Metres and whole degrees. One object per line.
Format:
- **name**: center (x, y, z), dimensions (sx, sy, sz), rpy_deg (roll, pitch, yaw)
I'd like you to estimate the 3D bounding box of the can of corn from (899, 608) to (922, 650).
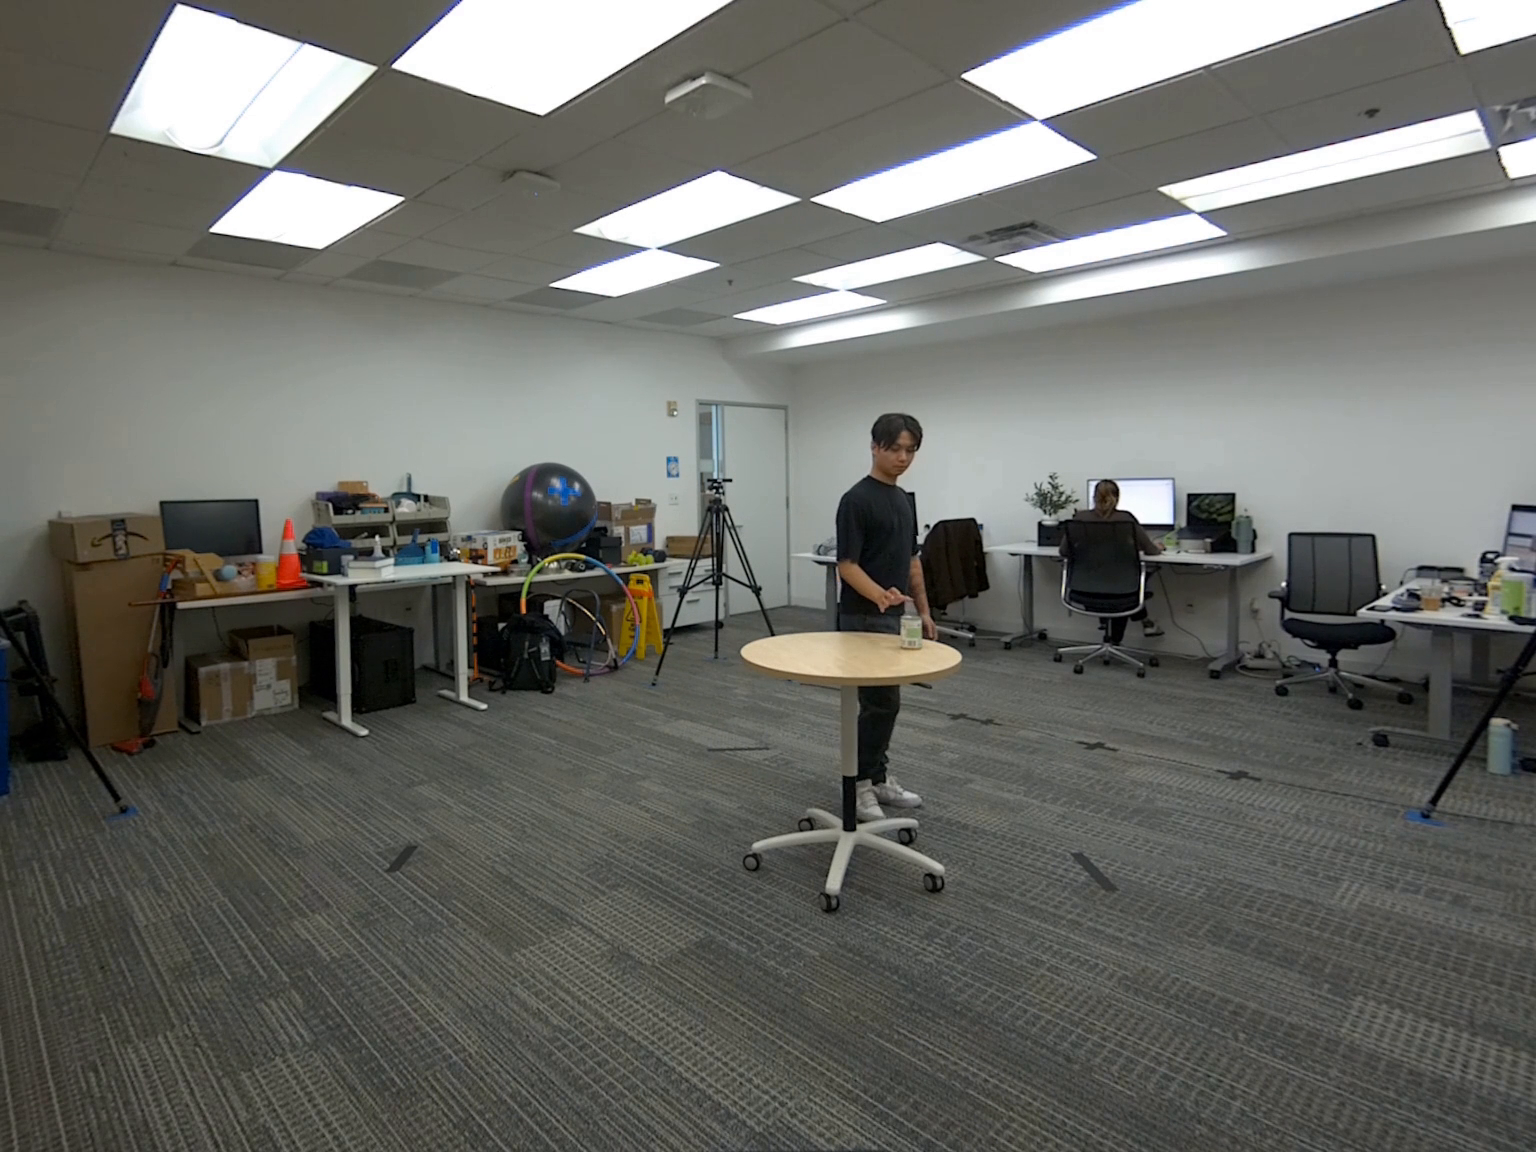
- **can of corn**: center (0.513, 0.206, 3.061), dimensions (0.074, 0.110, 0.074), rpy_deg (1, 4, -2)
